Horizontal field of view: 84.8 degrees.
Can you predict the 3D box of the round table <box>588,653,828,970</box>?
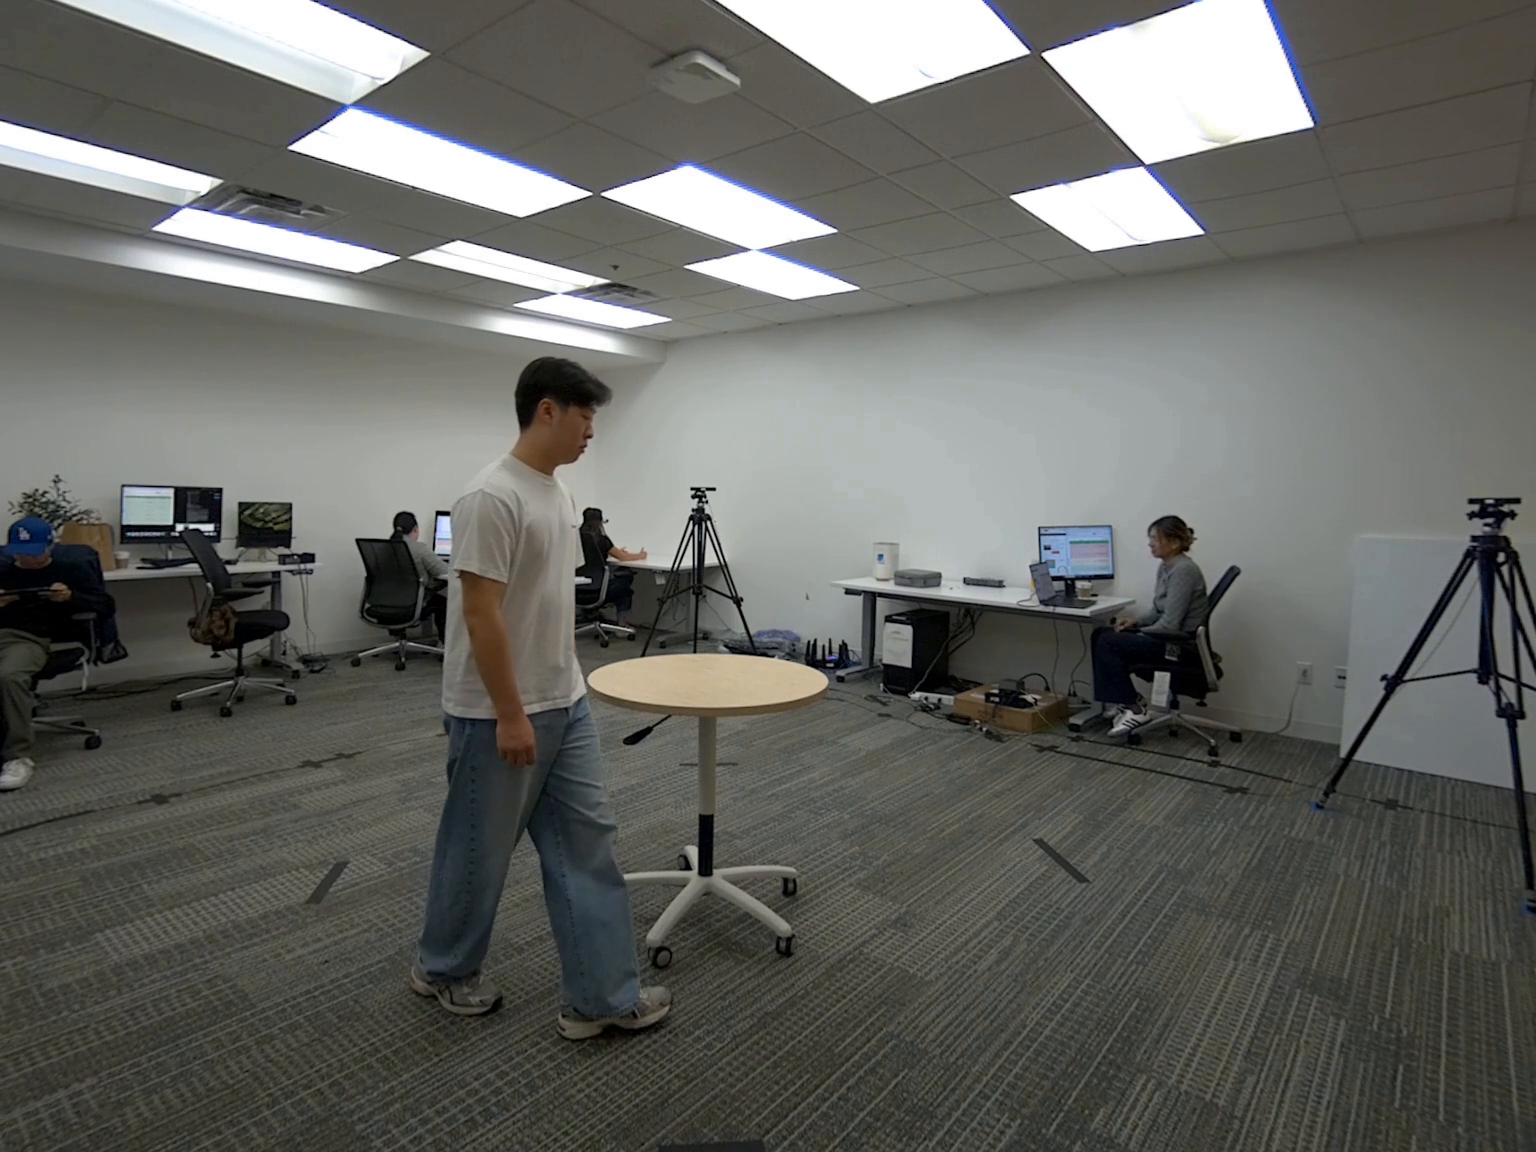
[{"bbox_3d":[-0.207,0.714,2.743,0.763,0.791,0.768,1,4,-2],"label":"round table"}]
